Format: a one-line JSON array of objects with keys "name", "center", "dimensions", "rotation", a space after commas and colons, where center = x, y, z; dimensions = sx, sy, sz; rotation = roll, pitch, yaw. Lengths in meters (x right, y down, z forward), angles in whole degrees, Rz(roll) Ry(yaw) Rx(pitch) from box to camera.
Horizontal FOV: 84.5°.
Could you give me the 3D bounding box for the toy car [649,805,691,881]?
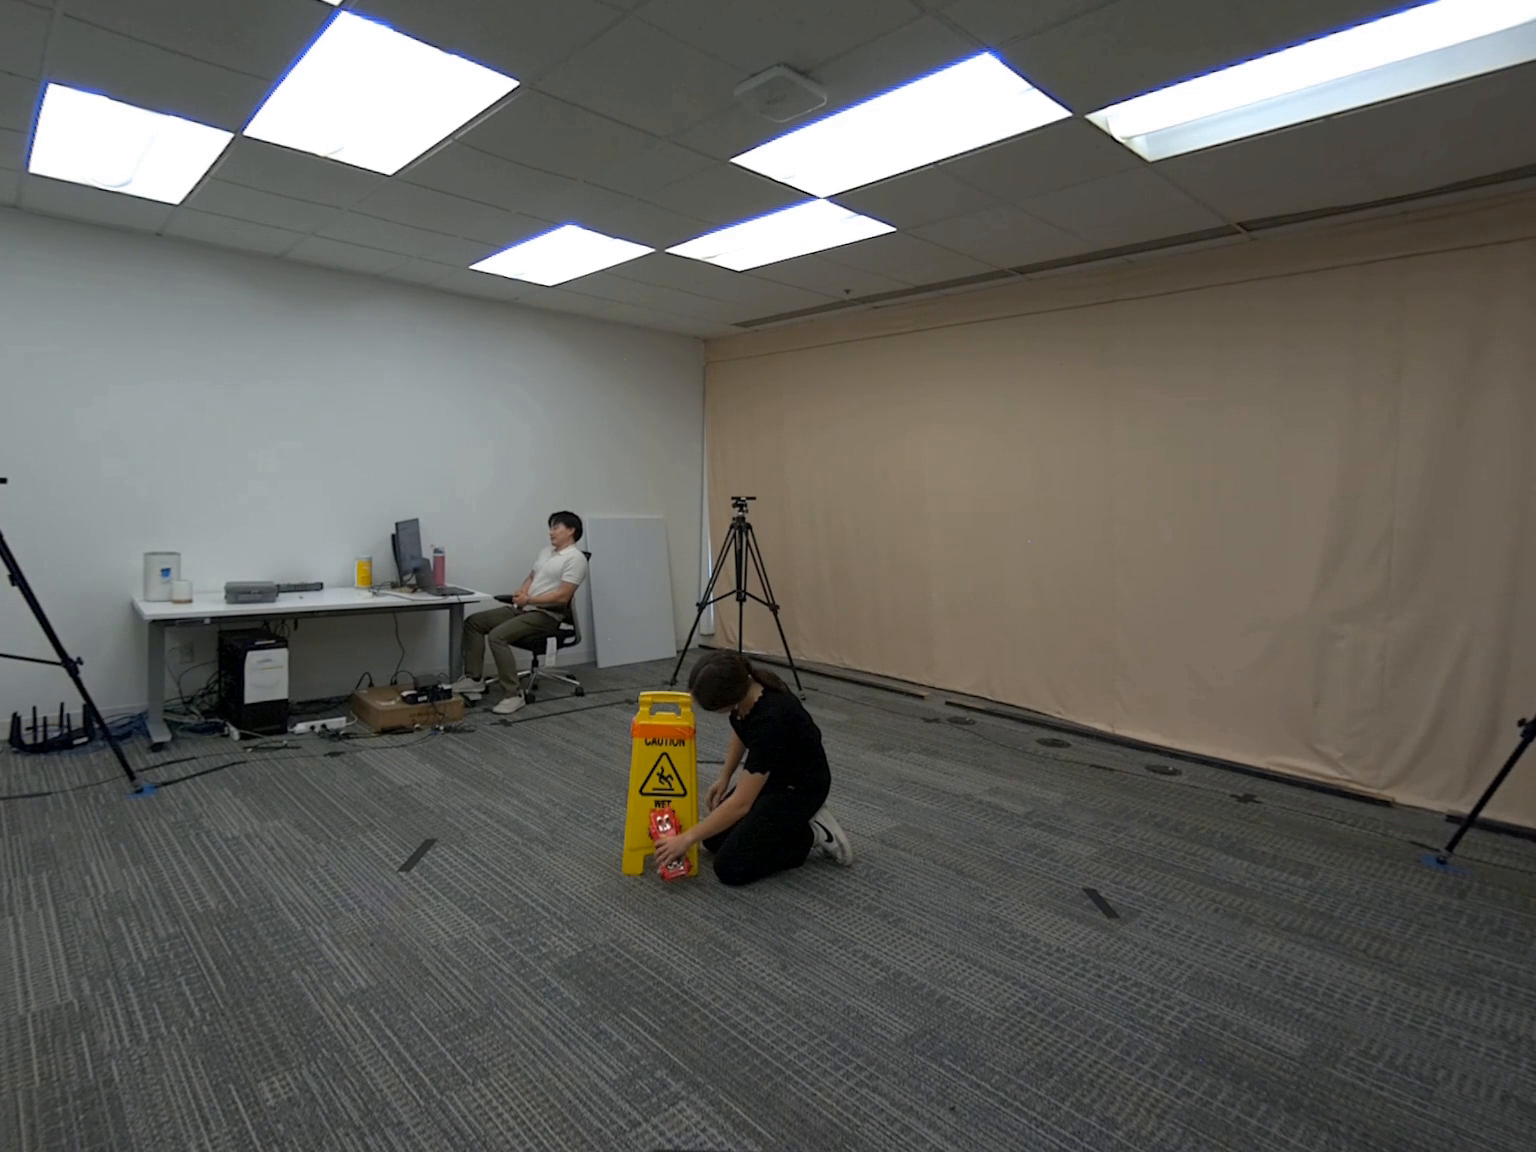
[{"name": "toy car", "center": [-0.382, 0.961, 3.036], "dimensions": [0.129, 0.259, 0.082], "rotation": [-10, -22, -12]}]
